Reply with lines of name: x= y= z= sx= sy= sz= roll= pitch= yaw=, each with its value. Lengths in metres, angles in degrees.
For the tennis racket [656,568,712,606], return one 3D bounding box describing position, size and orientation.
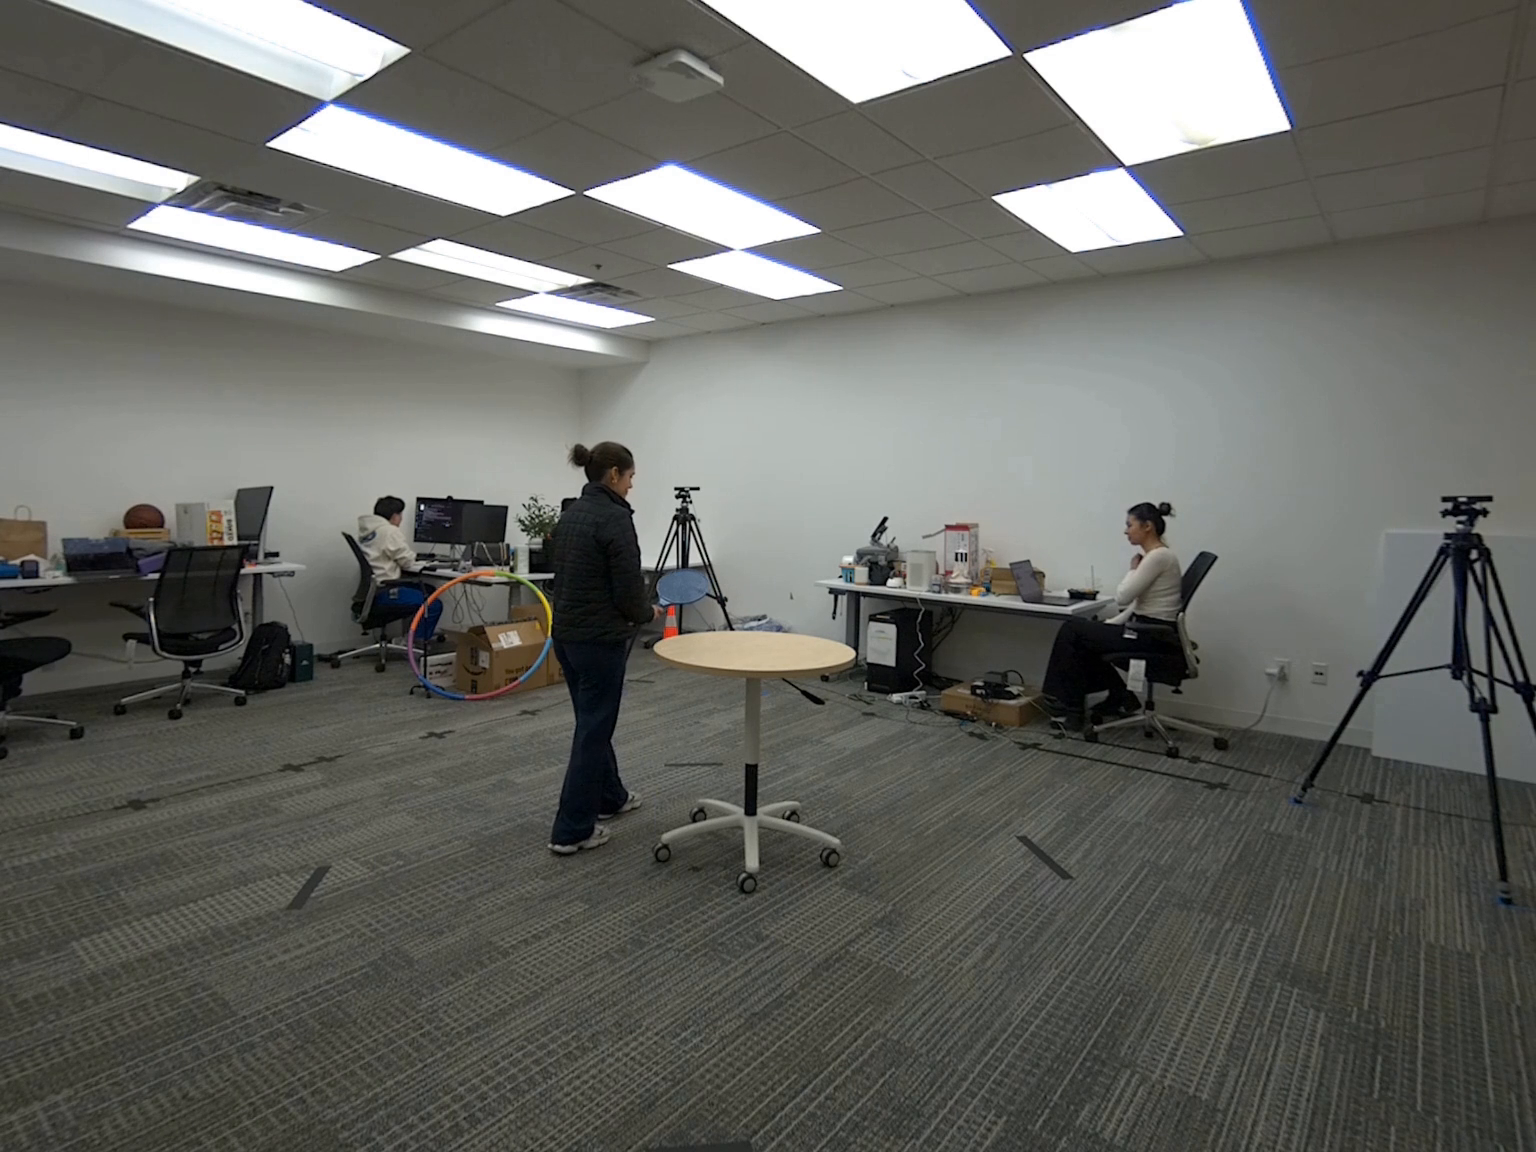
tennis racket: x=-0.405 y=0.081 z=3.666 sx=0.221 sy=0.031 sz=0.428 roll=24 pitch=37 yaw=26
